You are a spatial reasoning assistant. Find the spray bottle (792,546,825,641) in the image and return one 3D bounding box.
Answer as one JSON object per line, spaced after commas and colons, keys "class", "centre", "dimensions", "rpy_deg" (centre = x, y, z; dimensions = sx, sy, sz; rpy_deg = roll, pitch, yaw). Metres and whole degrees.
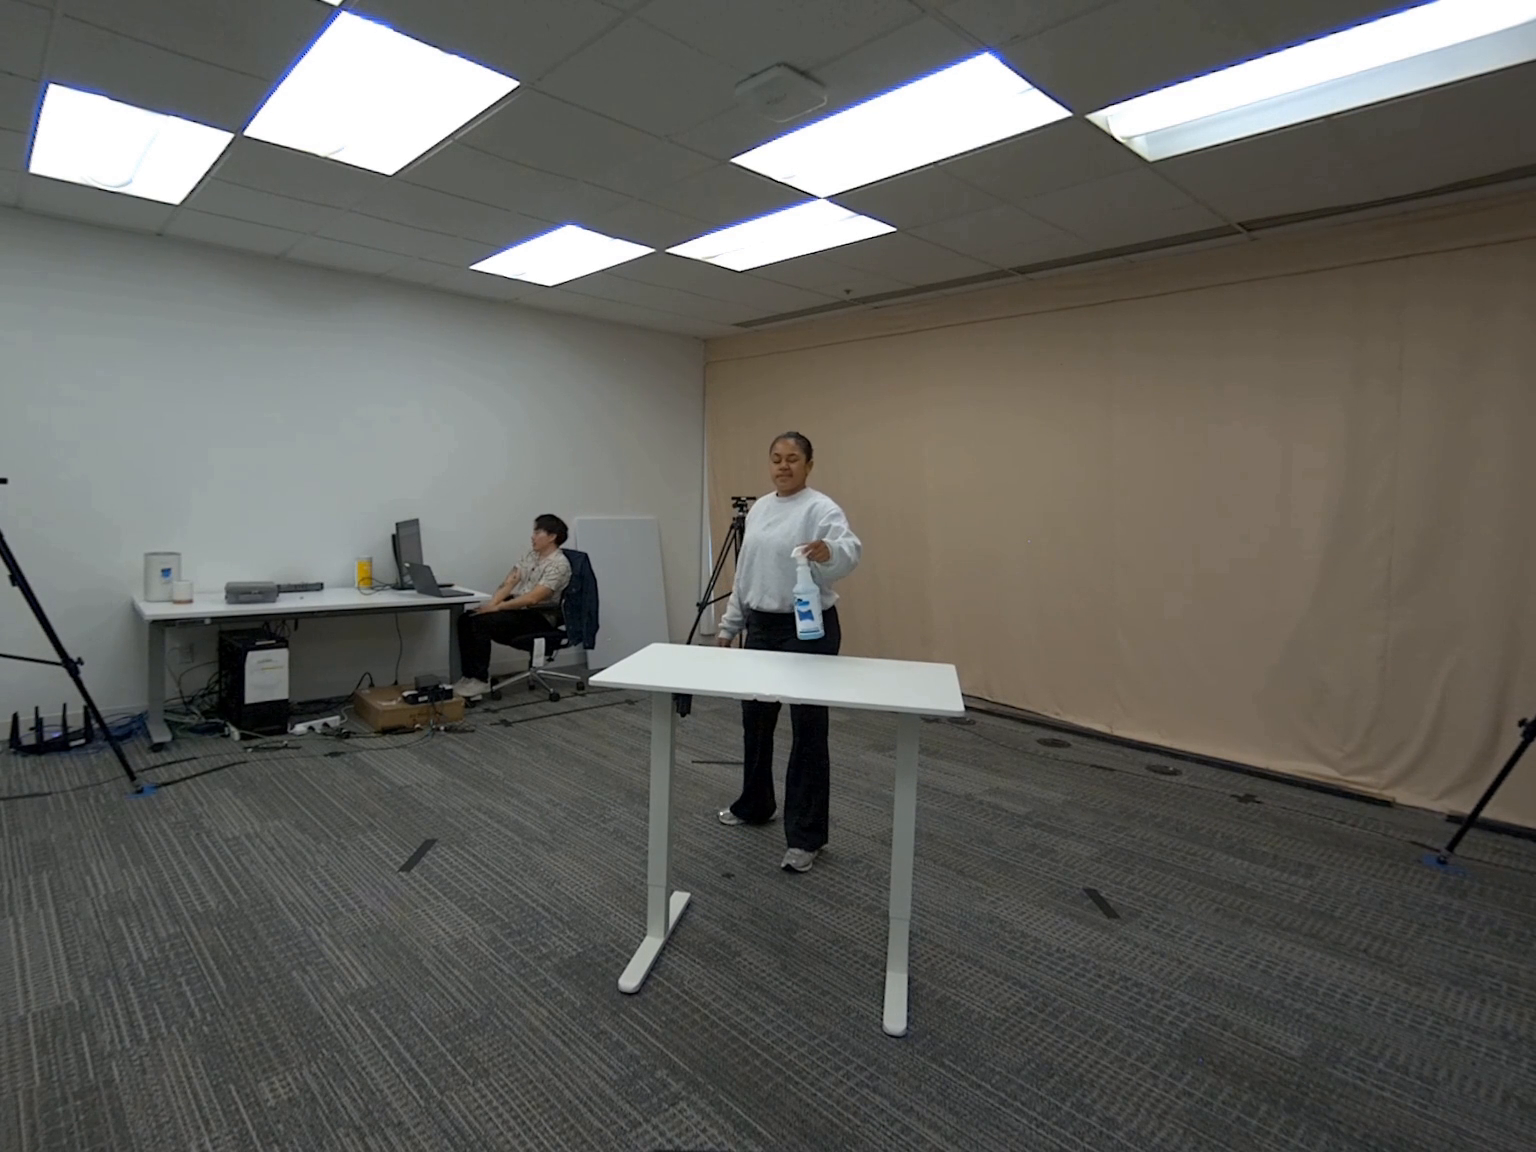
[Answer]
{"class": "spray bottle", "centre": [0.111, 0.053, 2.707], "dimensions": [0.089, 0.297, 0.087], "rpy_deg": [-4, 1, -7]}
